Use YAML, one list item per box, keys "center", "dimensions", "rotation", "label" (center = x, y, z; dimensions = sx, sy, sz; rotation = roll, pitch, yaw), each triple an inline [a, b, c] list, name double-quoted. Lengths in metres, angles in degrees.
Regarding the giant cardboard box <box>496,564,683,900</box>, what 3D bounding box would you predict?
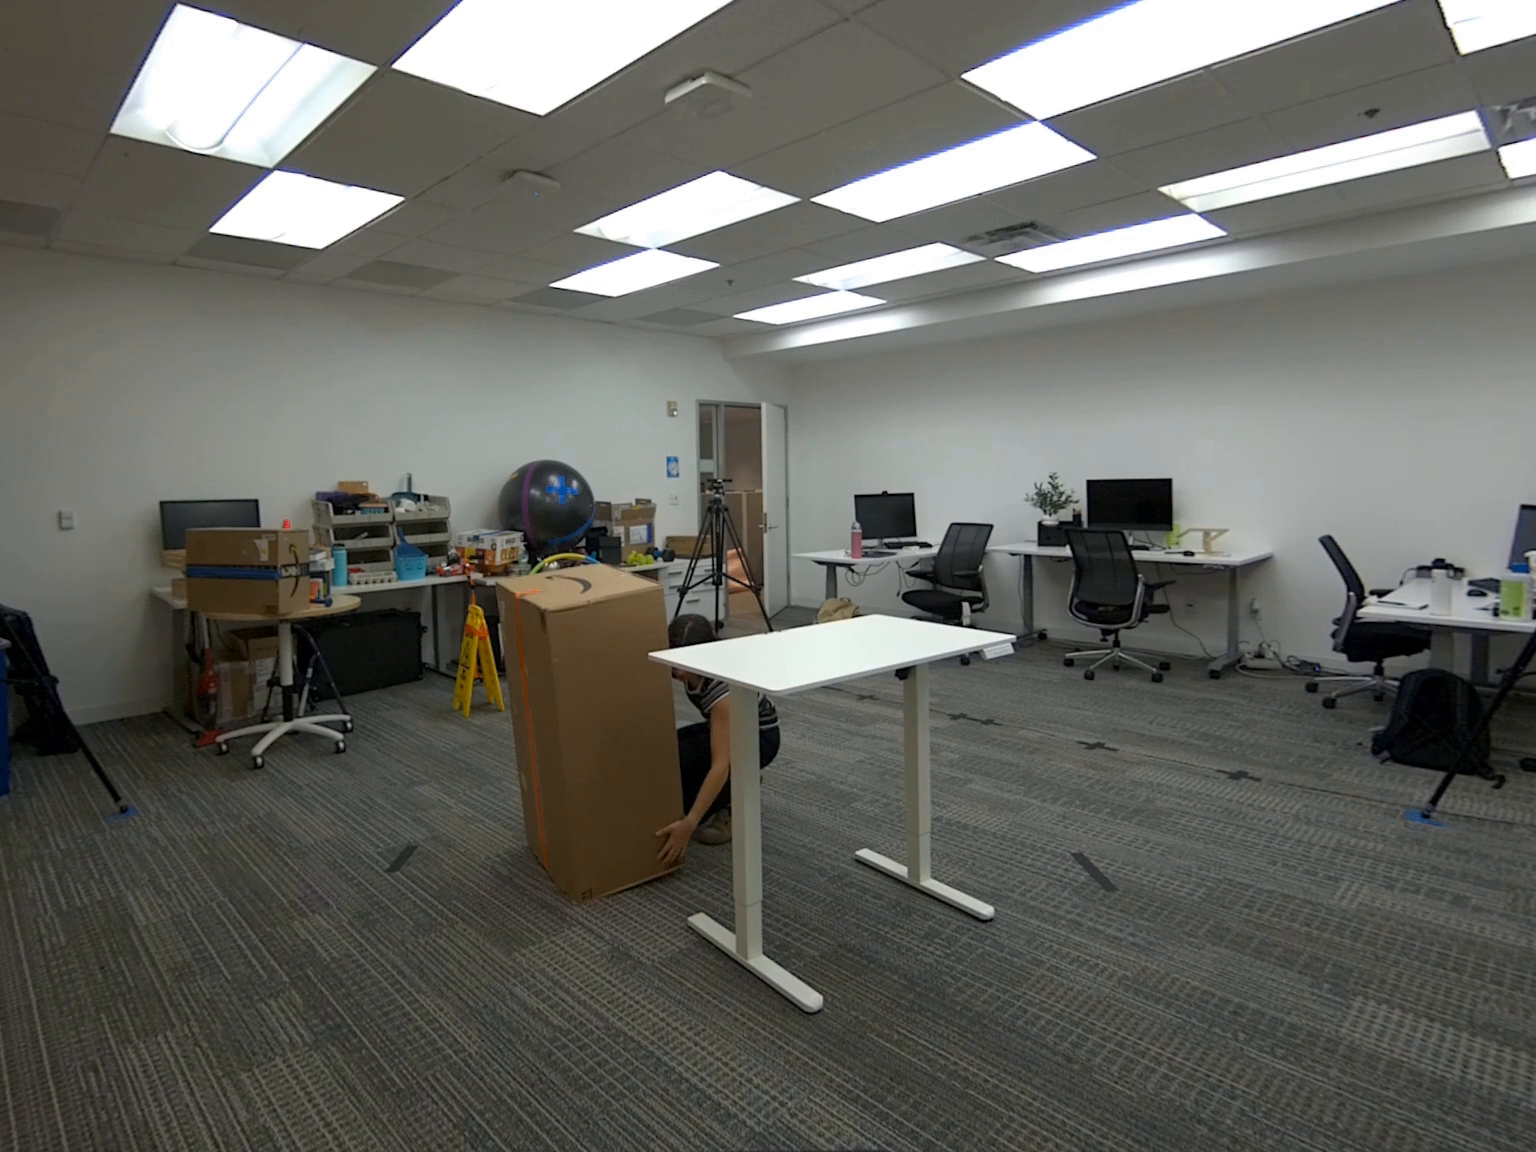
- center: [-0.644, 0.523, 3.085]
  dimensions: [0.417, 1.017, 0.595]
  rotation: [-9, 11, -30]
  label: "giant cardboard box"
